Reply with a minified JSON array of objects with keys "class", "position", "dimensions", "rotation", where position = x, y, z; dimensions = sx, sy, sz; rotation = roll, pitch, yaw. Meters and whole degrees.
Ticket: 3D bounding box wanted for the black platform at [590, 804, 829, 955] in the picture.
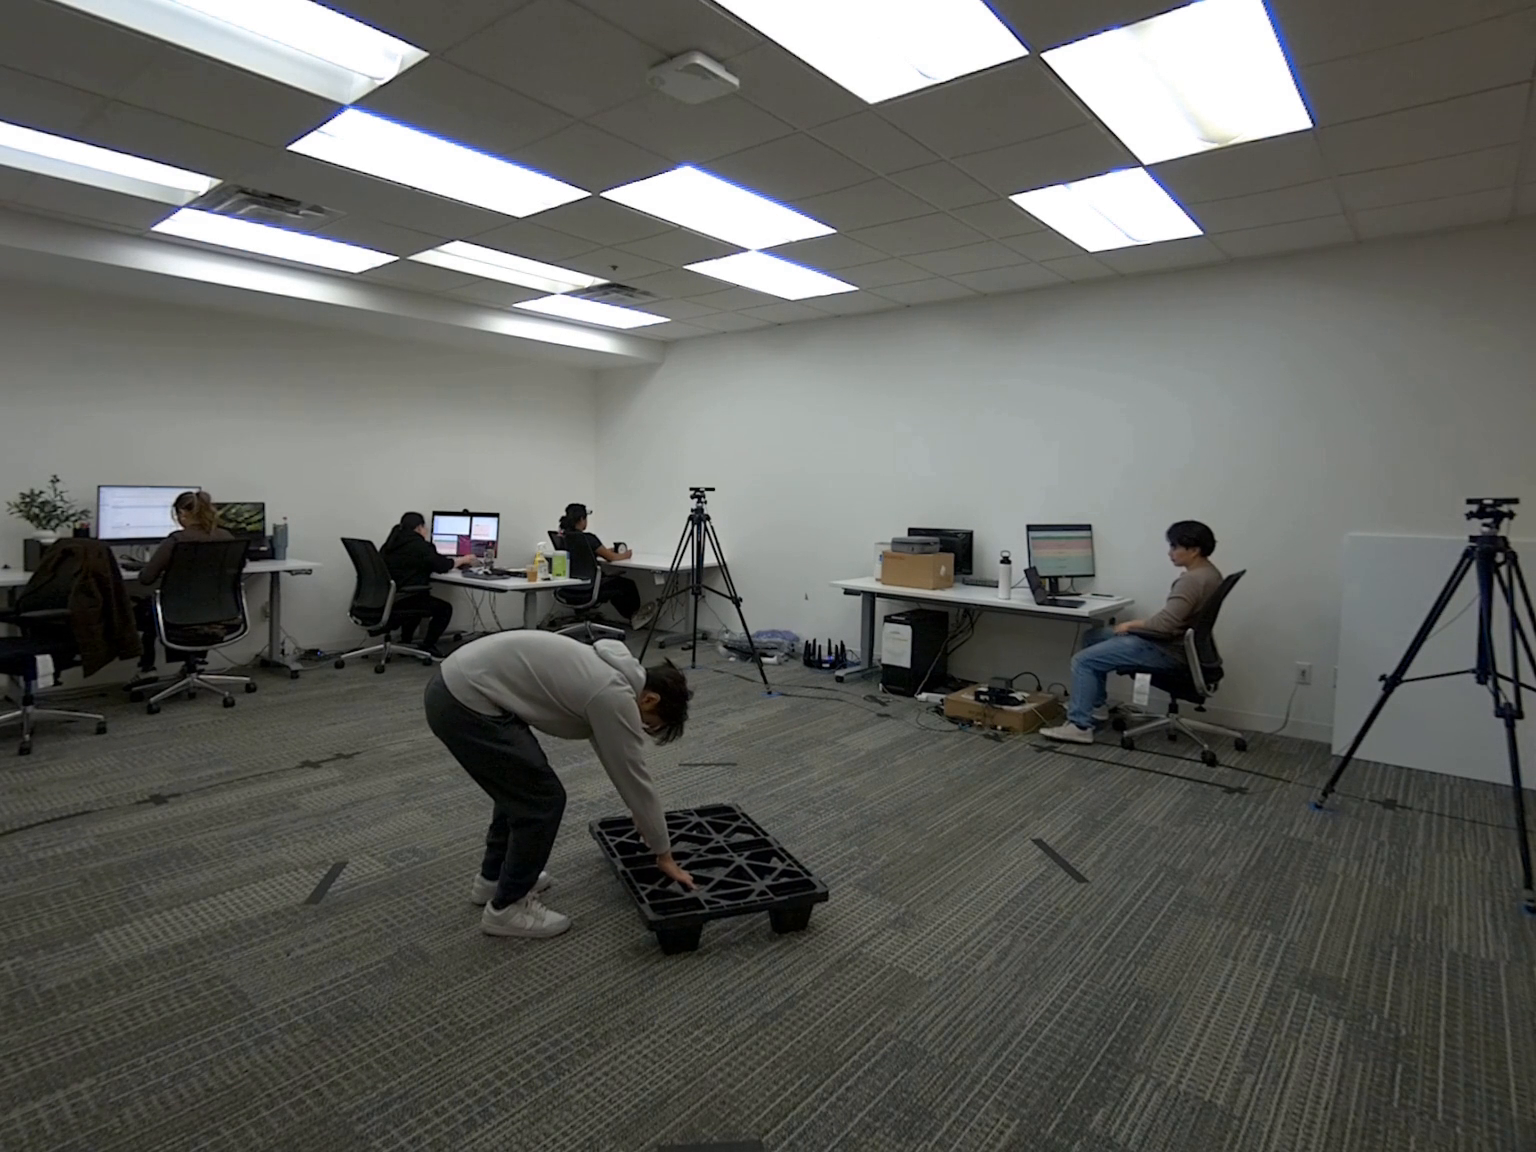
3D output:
[{"class":"black platform","position":[-0.250,1.012,2.937],"dimensions":[0.592,0.143,0.826],"rotation":[-2,6,-23]}]
